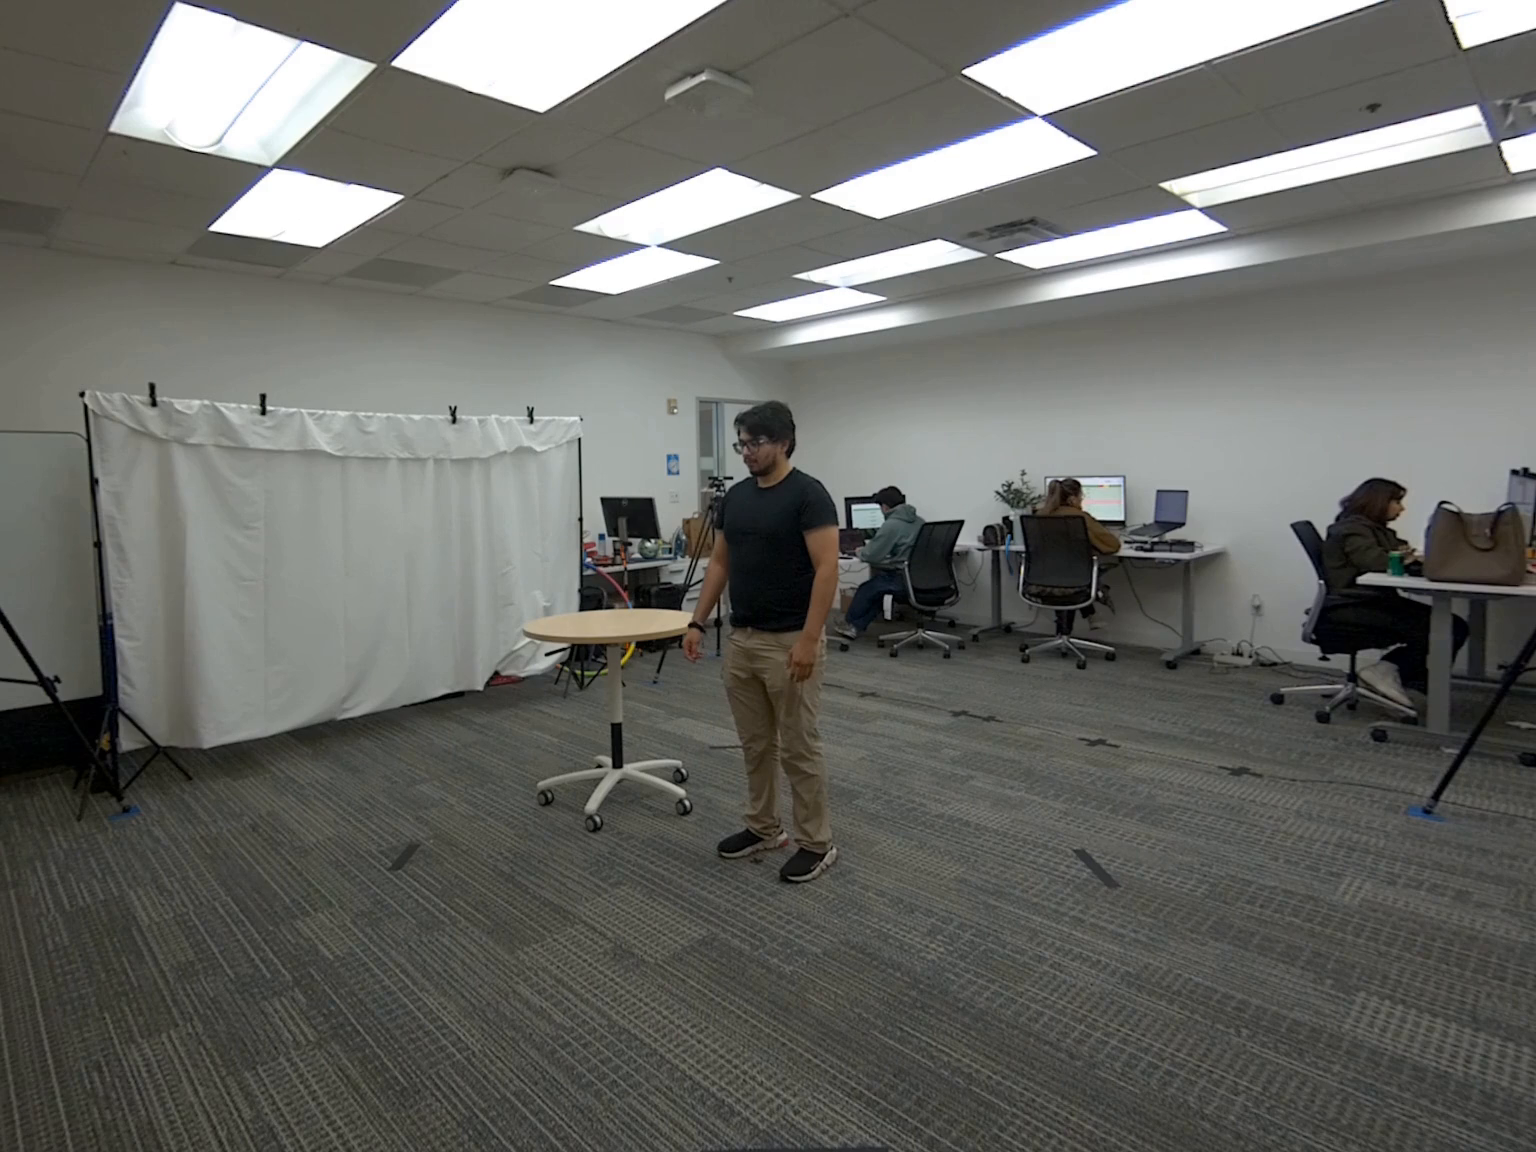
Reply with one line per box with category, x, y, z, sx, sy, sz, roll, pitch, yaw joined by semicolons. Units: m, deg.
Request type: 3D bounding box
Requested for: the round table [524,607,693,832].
round table;-0.664;0.587;3.710;0.784;0.784;0.788;-2;4;-2
